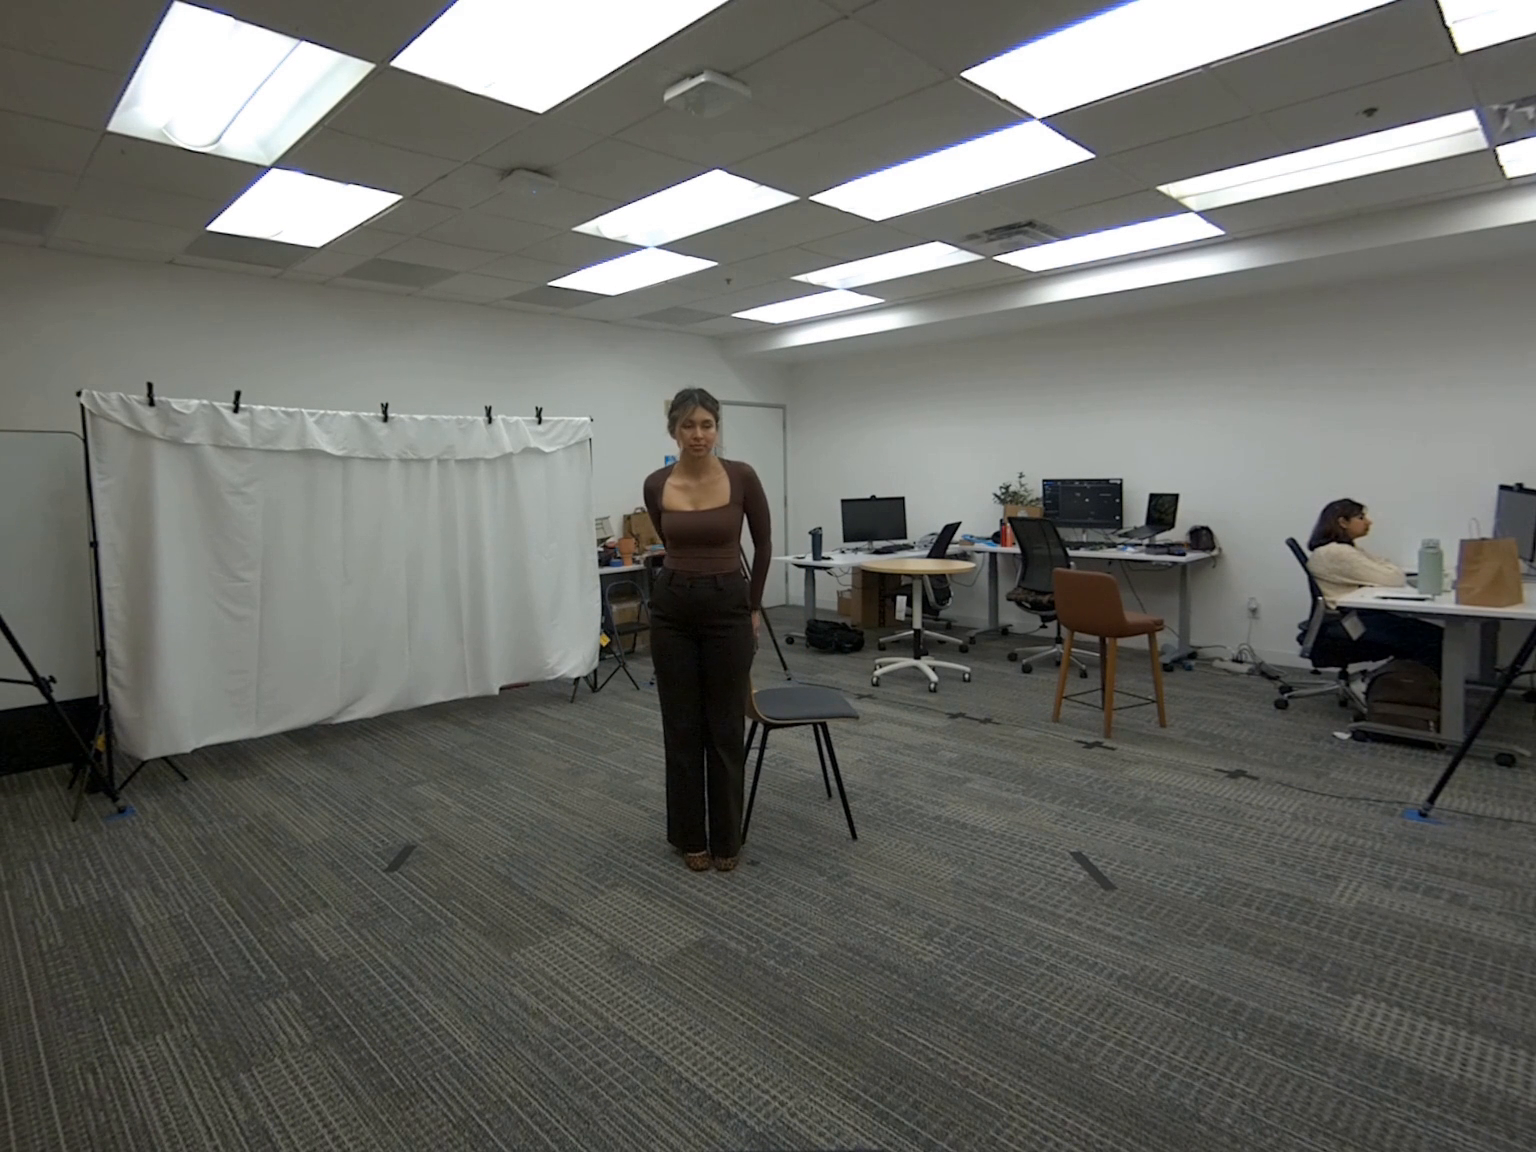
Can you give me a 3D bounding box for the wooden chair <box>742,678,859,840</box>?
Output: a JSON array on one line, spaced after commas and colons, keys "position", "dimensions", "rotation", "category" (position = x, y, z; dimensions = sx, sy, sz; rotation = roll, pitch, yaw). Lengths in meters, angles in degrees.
[{"position": [0.093, 0.570, 3.458], "dimensions": [0.521, 0.874, 0.482], "rotation": [-5, 4, -5], "category": "wooden chair"}]
